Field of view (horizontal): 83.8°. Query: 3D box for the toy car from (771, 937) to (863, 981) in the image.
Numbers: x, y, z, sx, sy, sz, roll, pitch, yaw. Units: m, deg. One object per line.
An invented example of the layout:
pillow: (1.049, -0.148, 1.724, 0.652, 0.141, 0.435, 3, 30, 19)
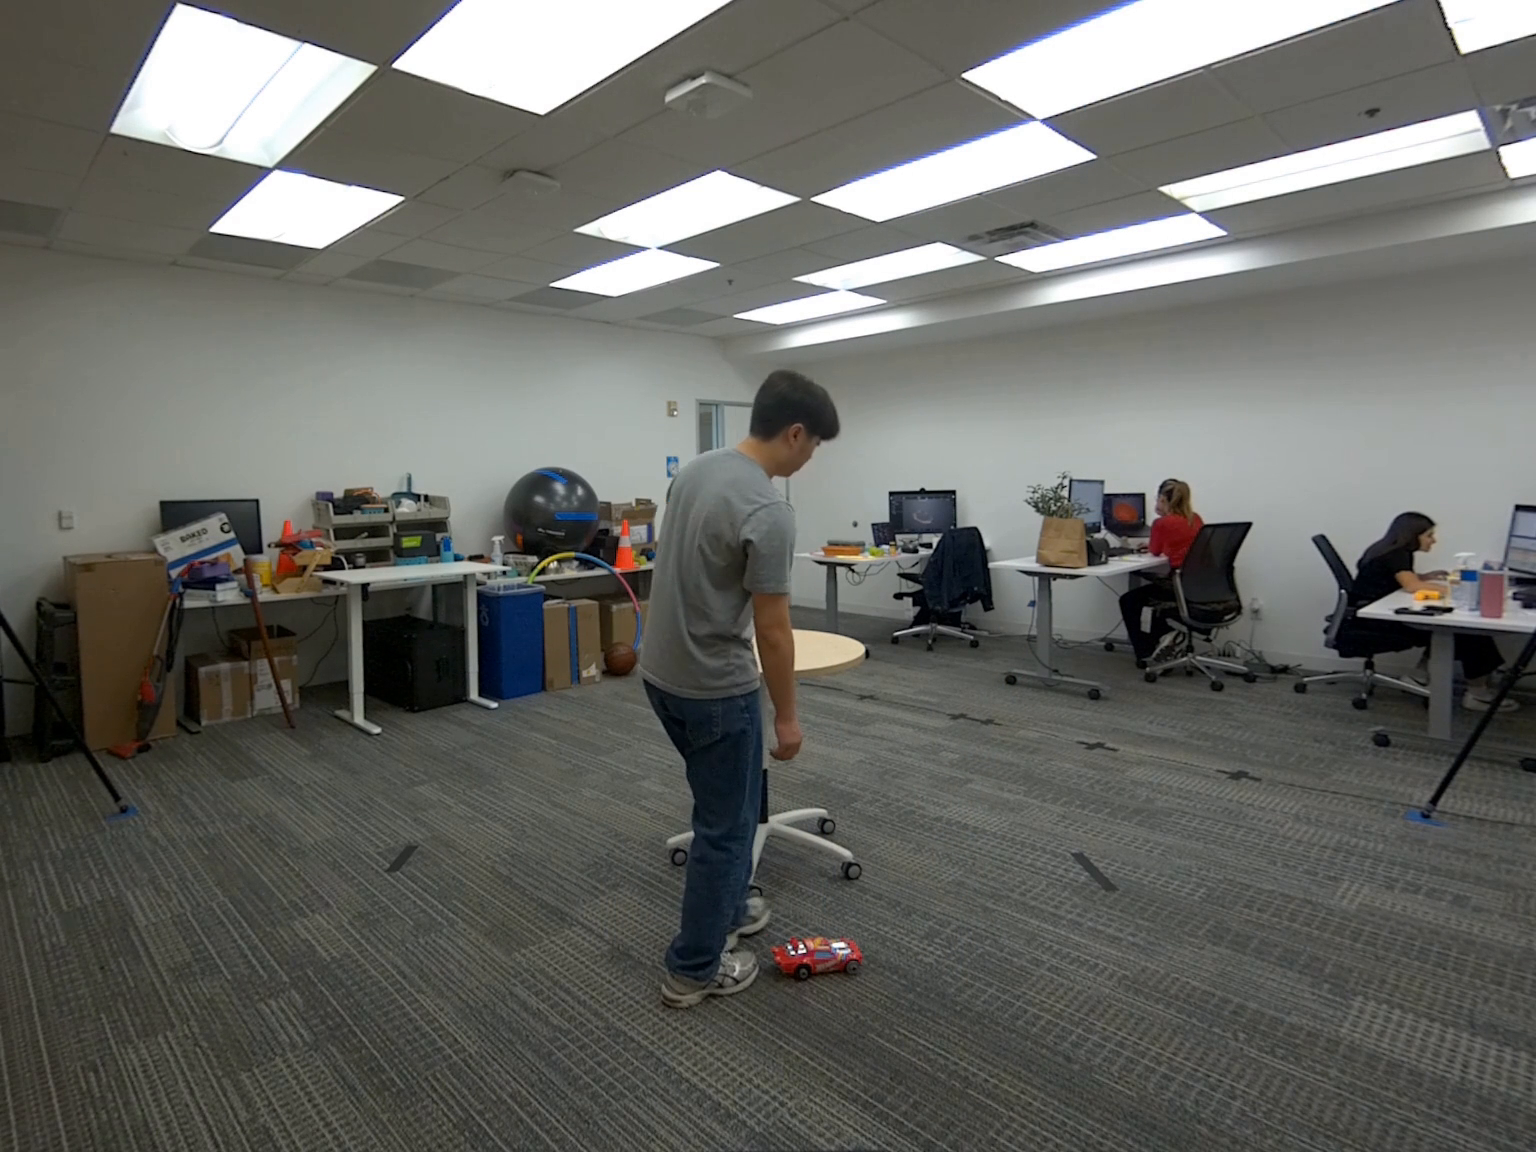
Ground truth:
toy car: (0.138, 1.086, 2.434, 0.251, 0.083, 0.132, 9, 4, -11)
